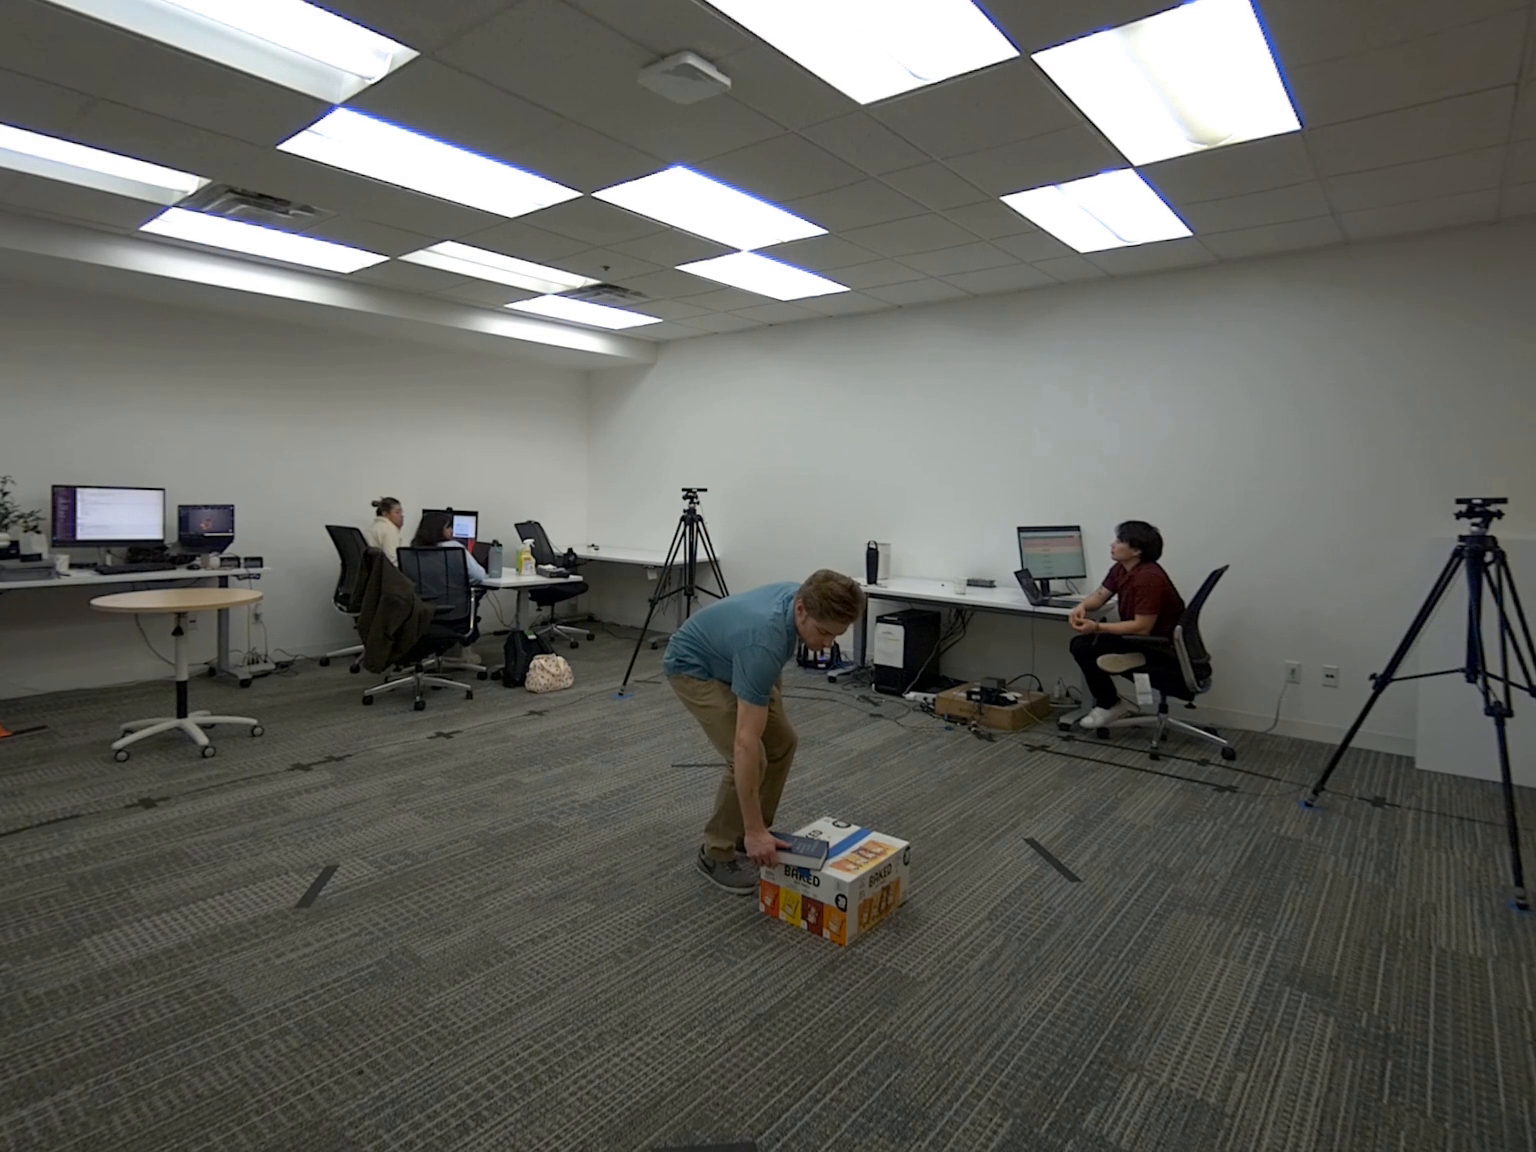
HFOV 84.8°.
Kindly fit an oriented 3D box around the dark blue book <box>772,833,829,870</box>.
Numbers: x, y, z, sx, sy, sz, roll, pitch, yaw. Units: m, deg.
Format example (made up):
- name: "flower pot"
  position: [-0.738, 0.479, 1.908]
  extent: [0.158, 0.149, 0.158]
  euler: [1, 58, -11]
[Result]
- name: "dark blue book"
  position: [0.063, 0.888, 2.768]
  extent: [0.249, 0.045, 0.161]
  euler: [5, 4, 15]
